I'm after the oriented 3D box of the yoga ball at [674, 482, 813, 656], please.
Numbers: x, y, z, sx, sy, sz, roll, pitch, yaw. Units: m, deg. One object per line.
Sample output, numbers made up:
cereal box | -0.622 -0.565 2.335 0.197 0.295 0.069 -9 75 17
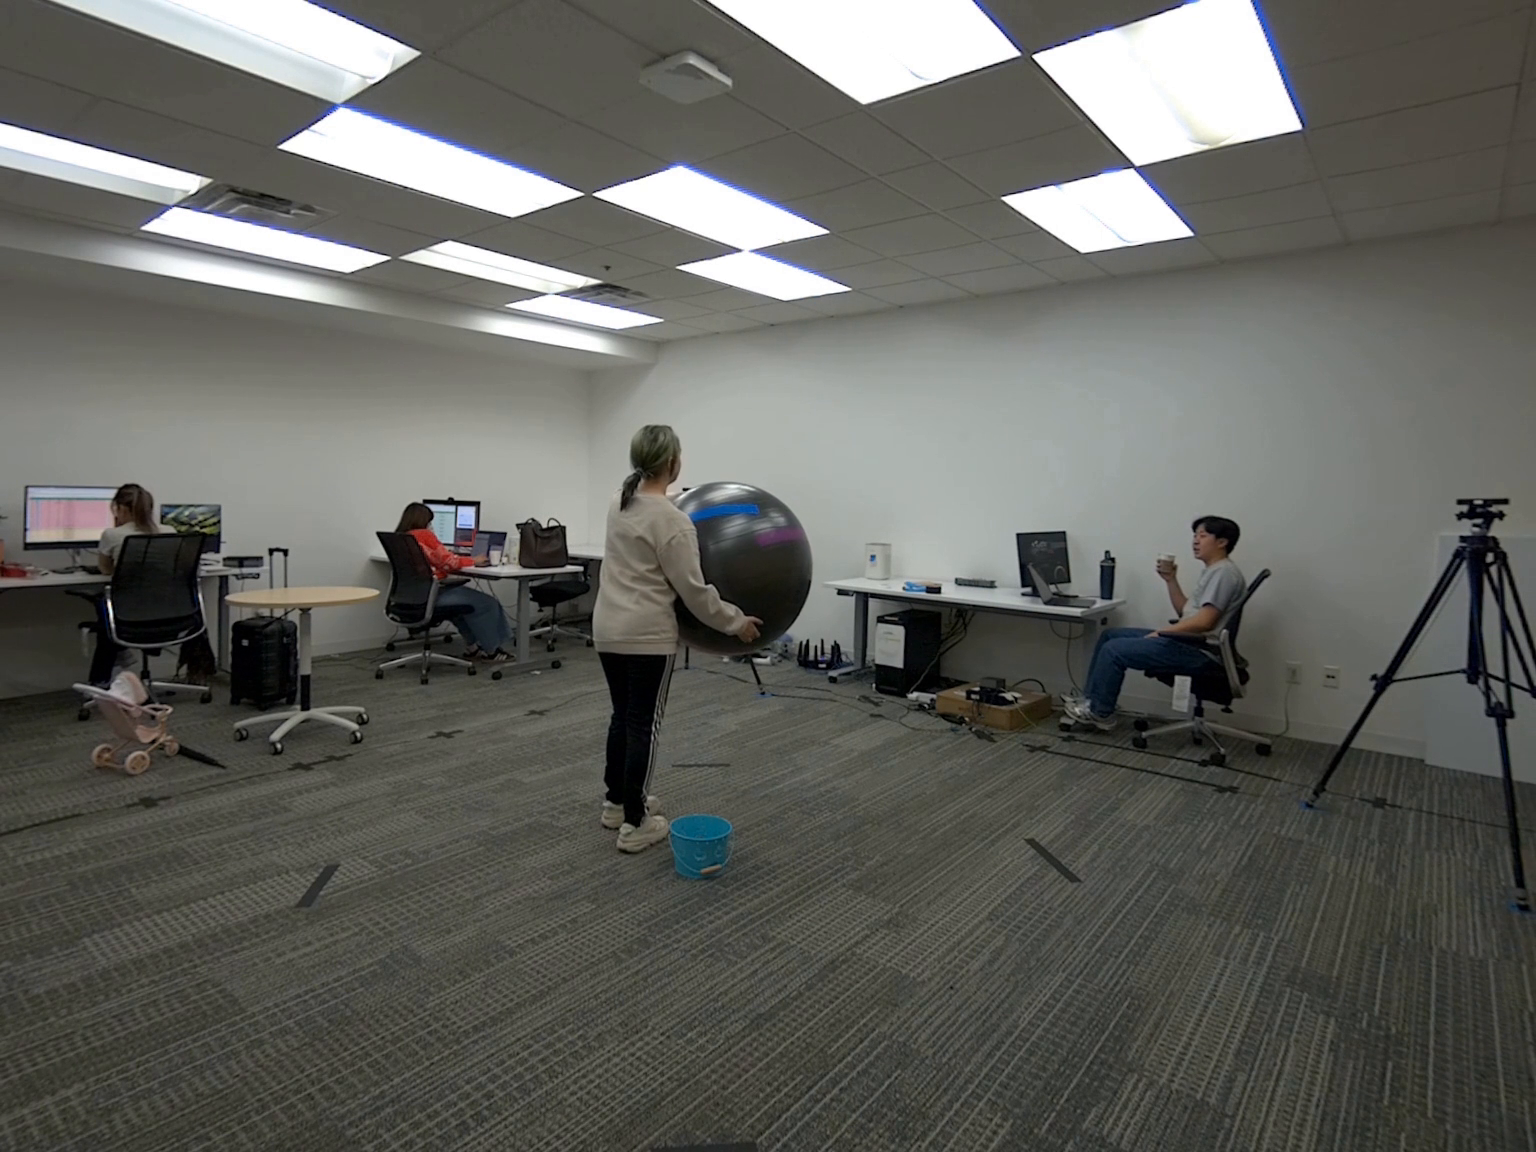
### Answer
yoga ball | -0.182 -0.030 3.752 0.757 0.756 0.762 1 4 -2
